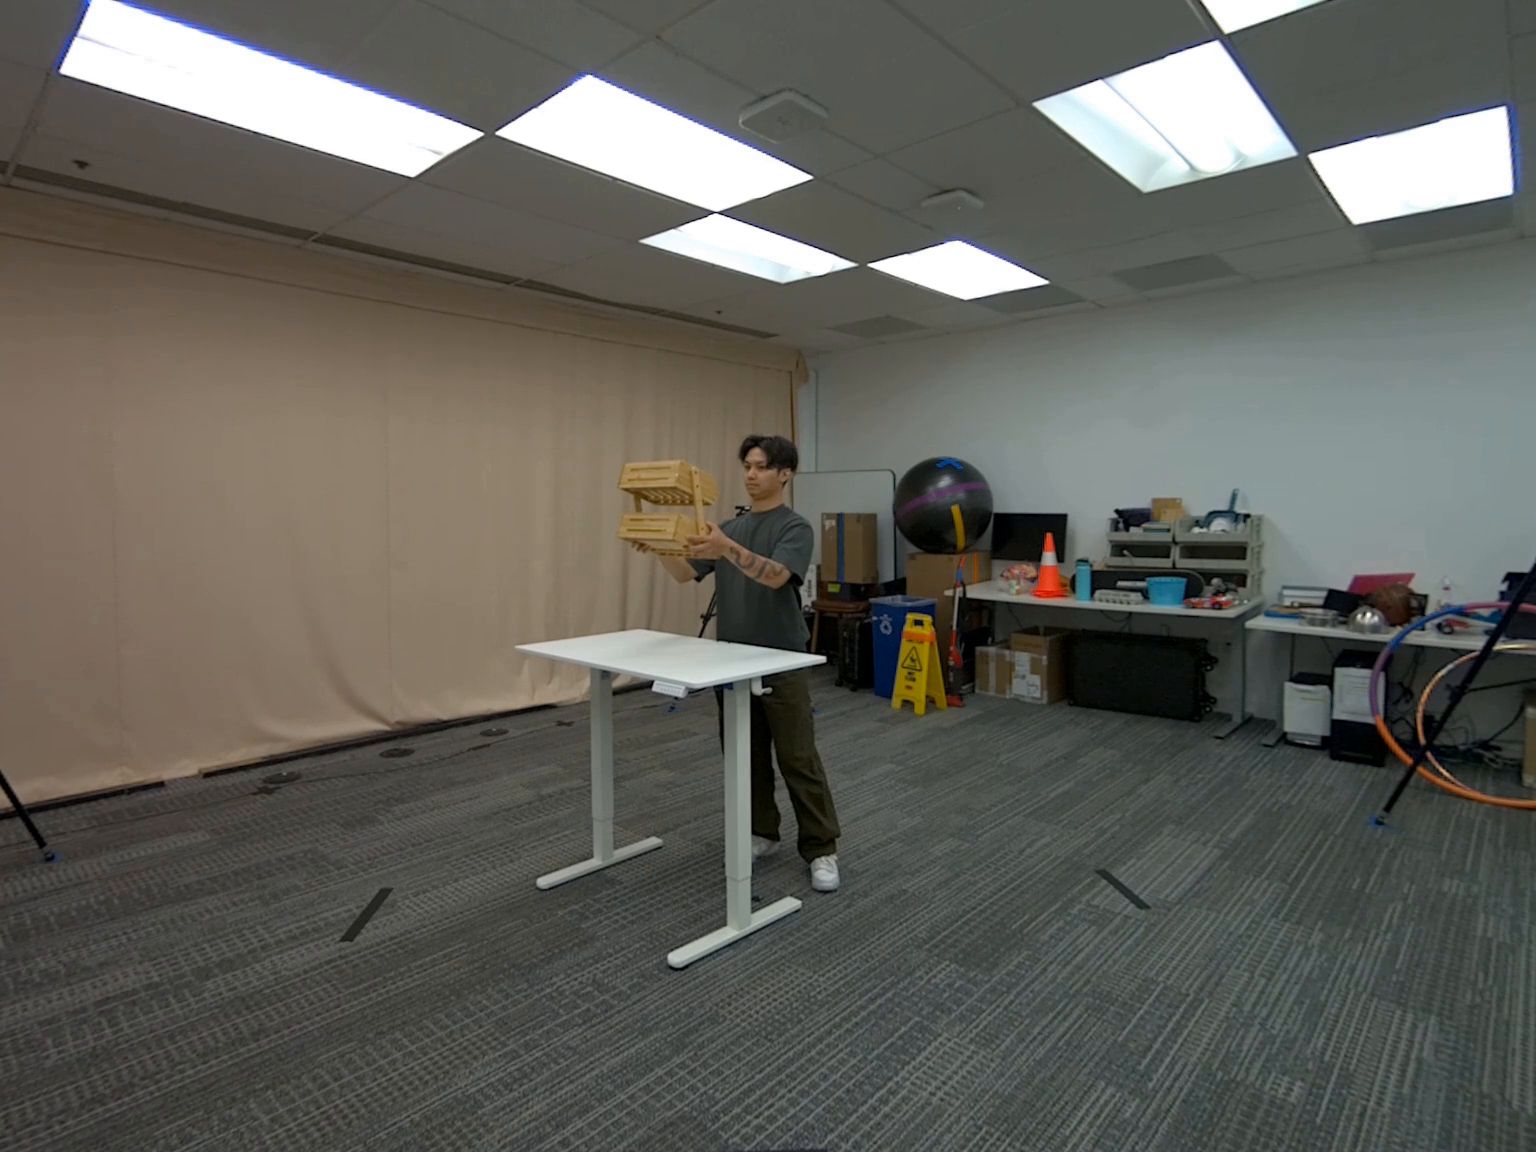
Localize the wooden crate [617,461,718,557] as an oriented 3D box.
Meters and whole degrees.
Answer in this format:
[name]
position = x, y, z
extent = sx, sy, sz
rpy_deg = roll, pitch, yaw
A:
[wooden crate]
position = -0.331, -0.232, 2.973
extent = 0.335, 0.274, 0.291
rpy_deg = 3, -14, 42
